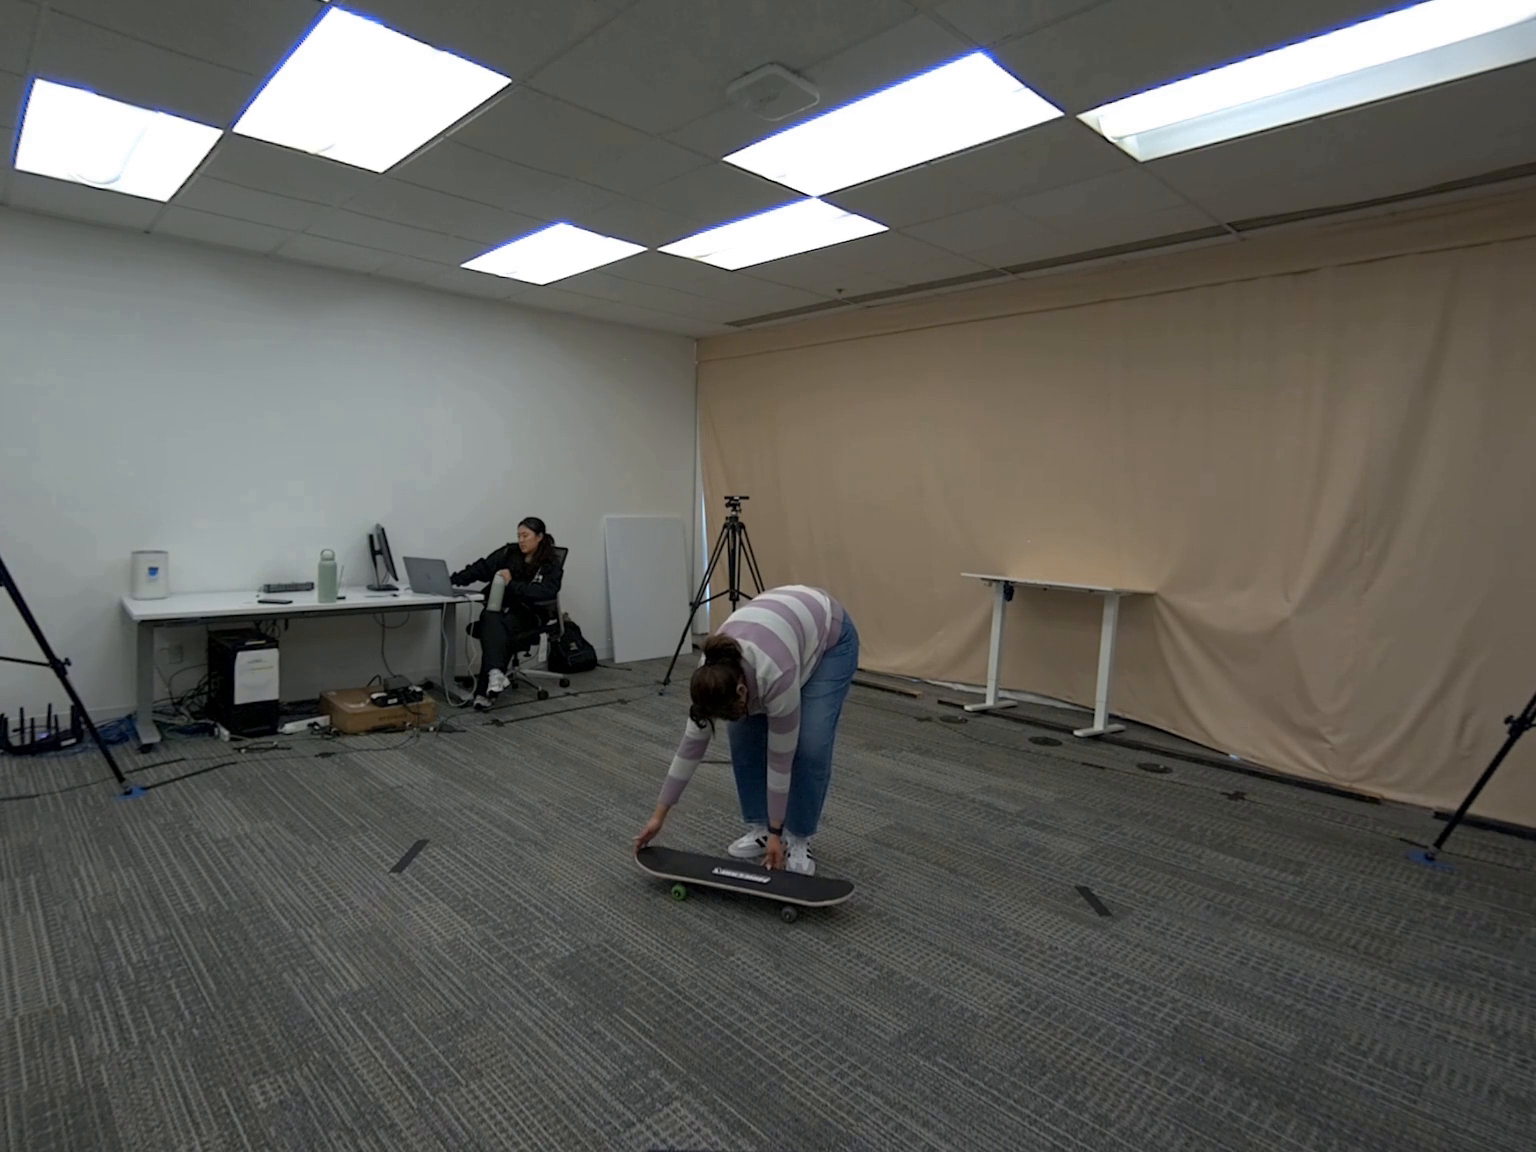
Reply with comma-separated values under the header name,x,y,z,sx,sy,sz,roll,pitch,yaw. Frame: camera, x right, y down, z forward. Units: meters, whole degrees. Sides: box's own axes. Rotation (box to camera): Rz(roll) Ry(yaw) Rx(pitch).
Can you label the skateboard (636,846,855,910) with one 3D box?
name,x,y,z,sx,sy,sz,roll,pitch,yaw
skateboard,-0.102,1.065,2.903,0.798,0.110,0.191,3,7,20
